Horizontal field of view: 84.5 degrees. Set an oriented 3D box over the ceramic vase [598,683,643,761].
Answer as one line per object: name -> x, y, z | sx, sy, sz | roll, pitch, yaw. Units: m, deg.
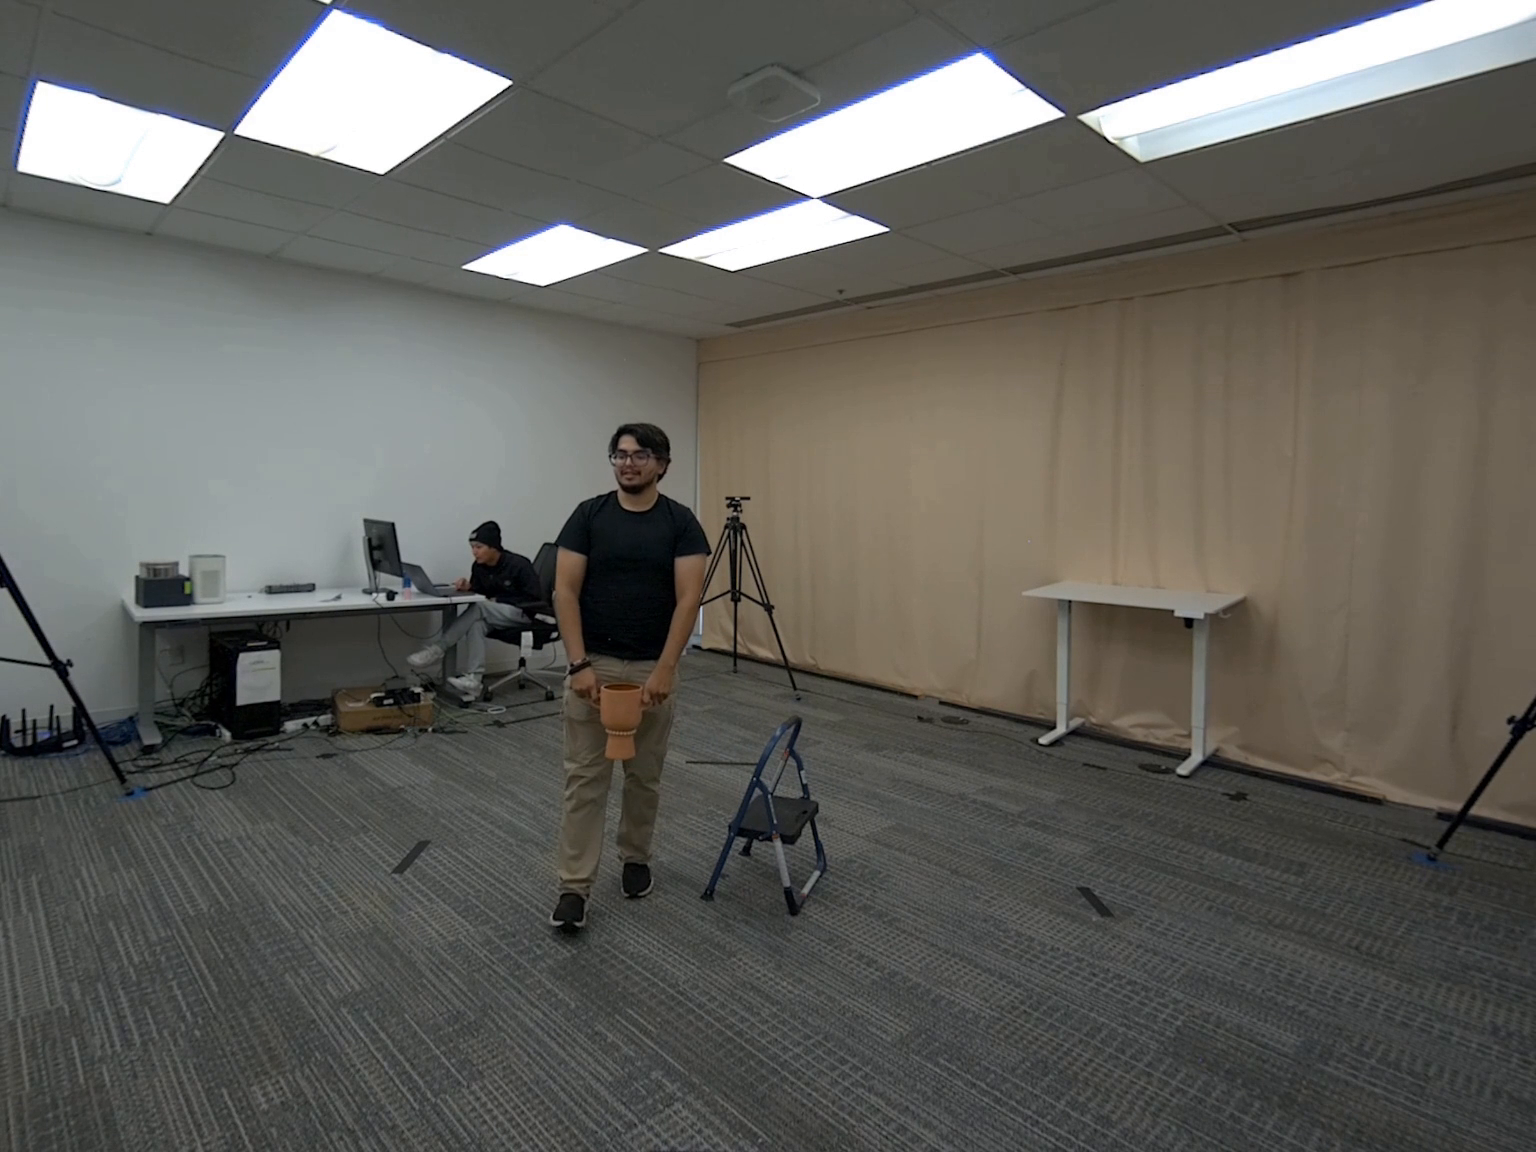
ceramic vase -> -0.492, 0.465, 2.674 | 0.163, 0.219, 0.131 | 5, 2, 43
